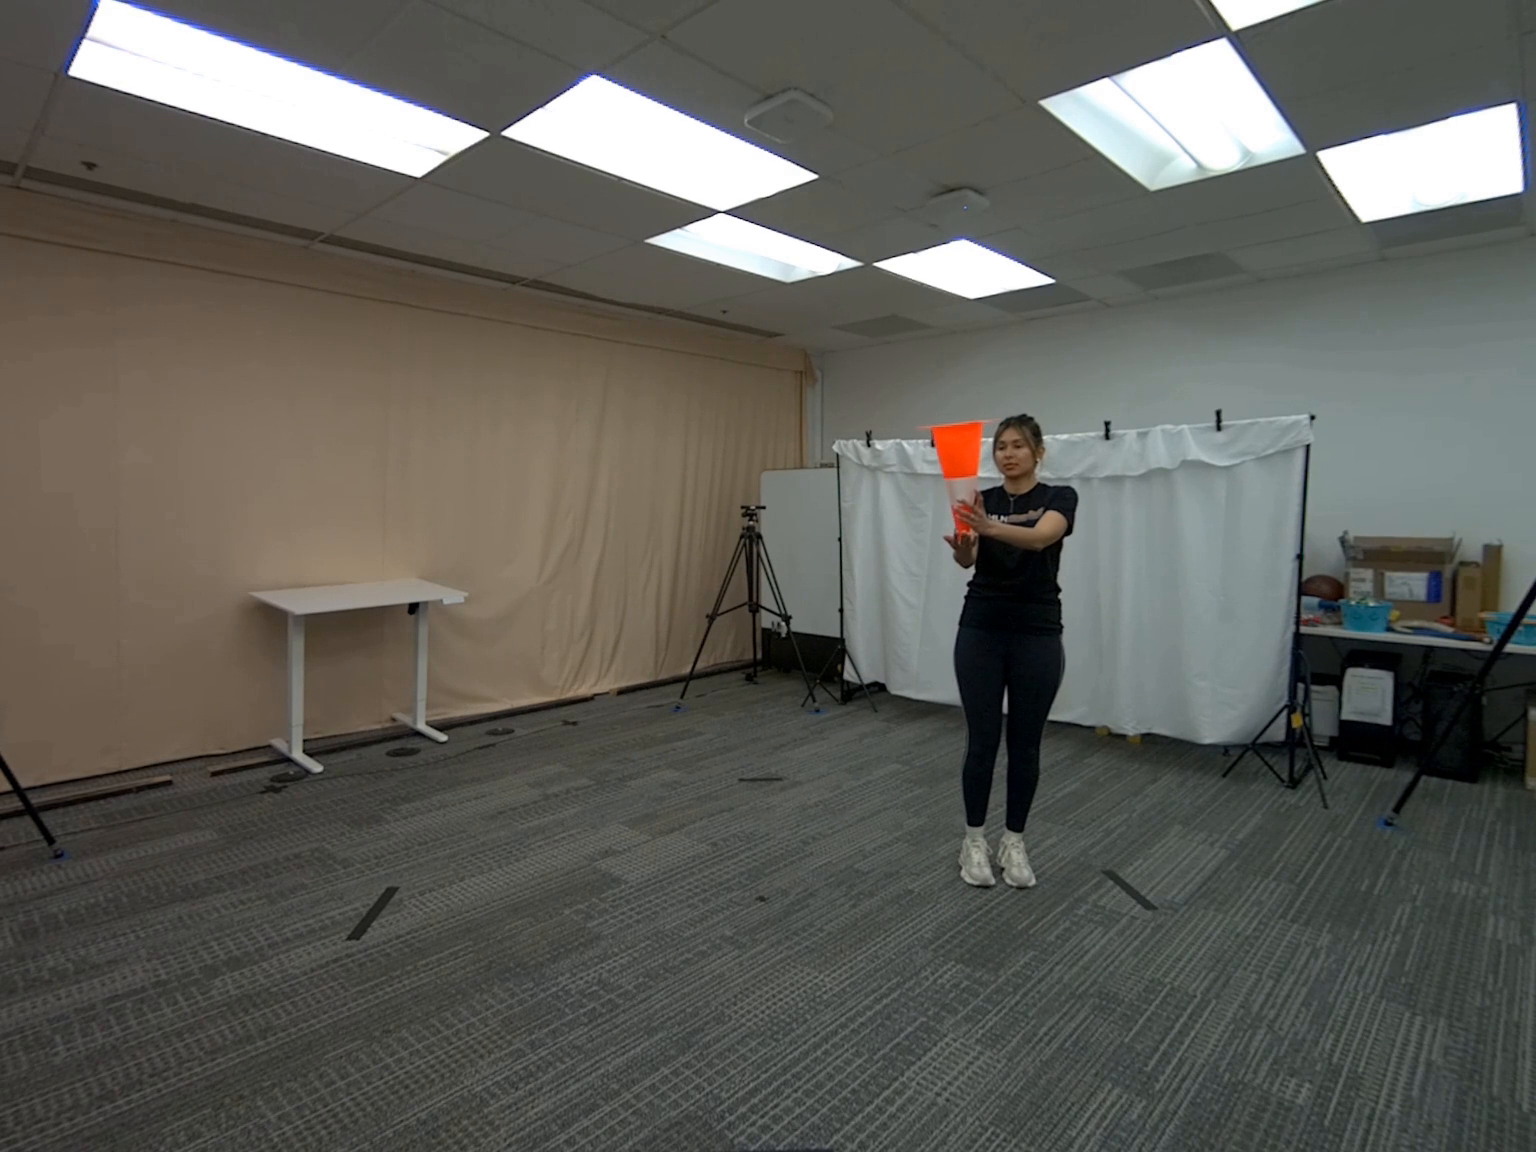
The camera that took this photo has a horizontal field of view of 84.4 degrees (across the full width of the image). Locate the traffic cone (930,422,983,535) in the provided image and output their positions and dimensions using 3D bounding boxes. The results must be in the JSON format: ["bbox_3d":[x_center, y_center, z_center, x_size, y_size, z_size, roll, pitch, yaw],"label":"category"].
[{"bbox_3d":[0.629,-0.292,2.677,0.199,0.382,0.210,-8,7,-39],"label":"traffic cone"}]
